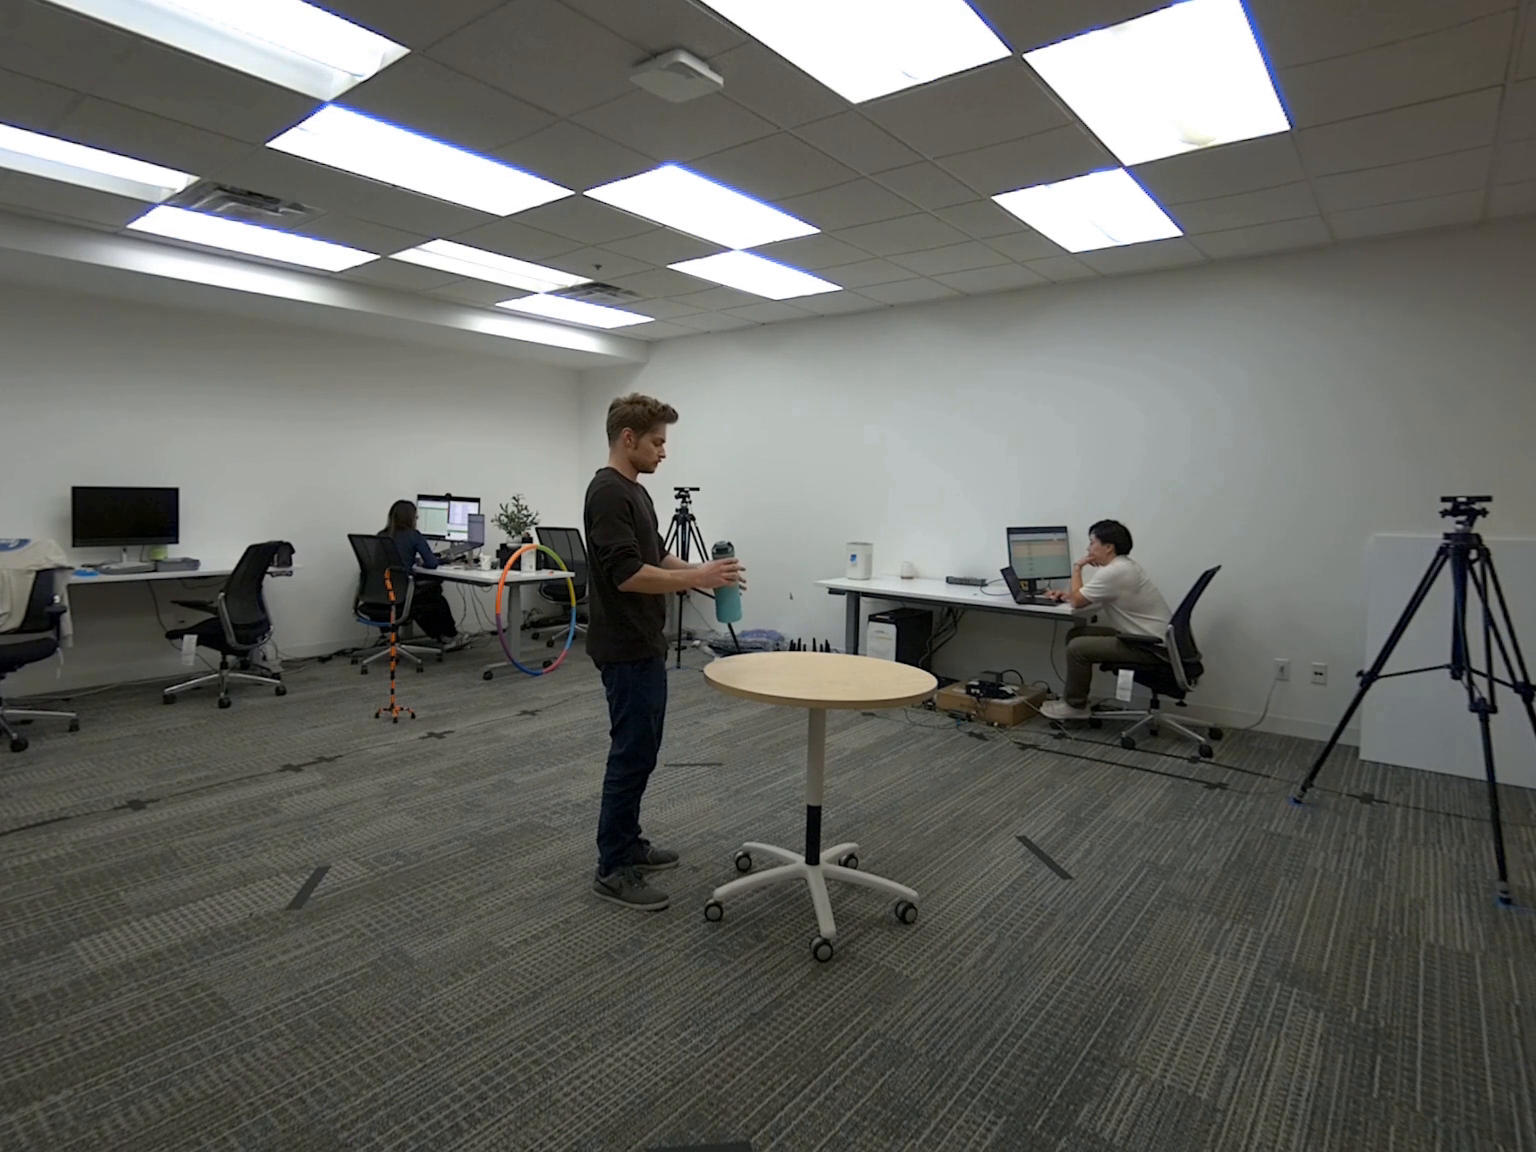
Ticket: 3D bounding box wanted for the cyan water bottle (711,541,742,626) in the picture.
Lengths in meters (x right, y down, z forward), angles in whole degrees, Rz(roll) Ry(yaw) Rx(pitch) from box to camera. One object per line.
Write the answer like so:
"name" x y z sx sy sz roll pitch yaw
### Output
"cyan water bottle" -0.156 0.015 2.926 0.092 0.279 0.094 -4 14 -1
